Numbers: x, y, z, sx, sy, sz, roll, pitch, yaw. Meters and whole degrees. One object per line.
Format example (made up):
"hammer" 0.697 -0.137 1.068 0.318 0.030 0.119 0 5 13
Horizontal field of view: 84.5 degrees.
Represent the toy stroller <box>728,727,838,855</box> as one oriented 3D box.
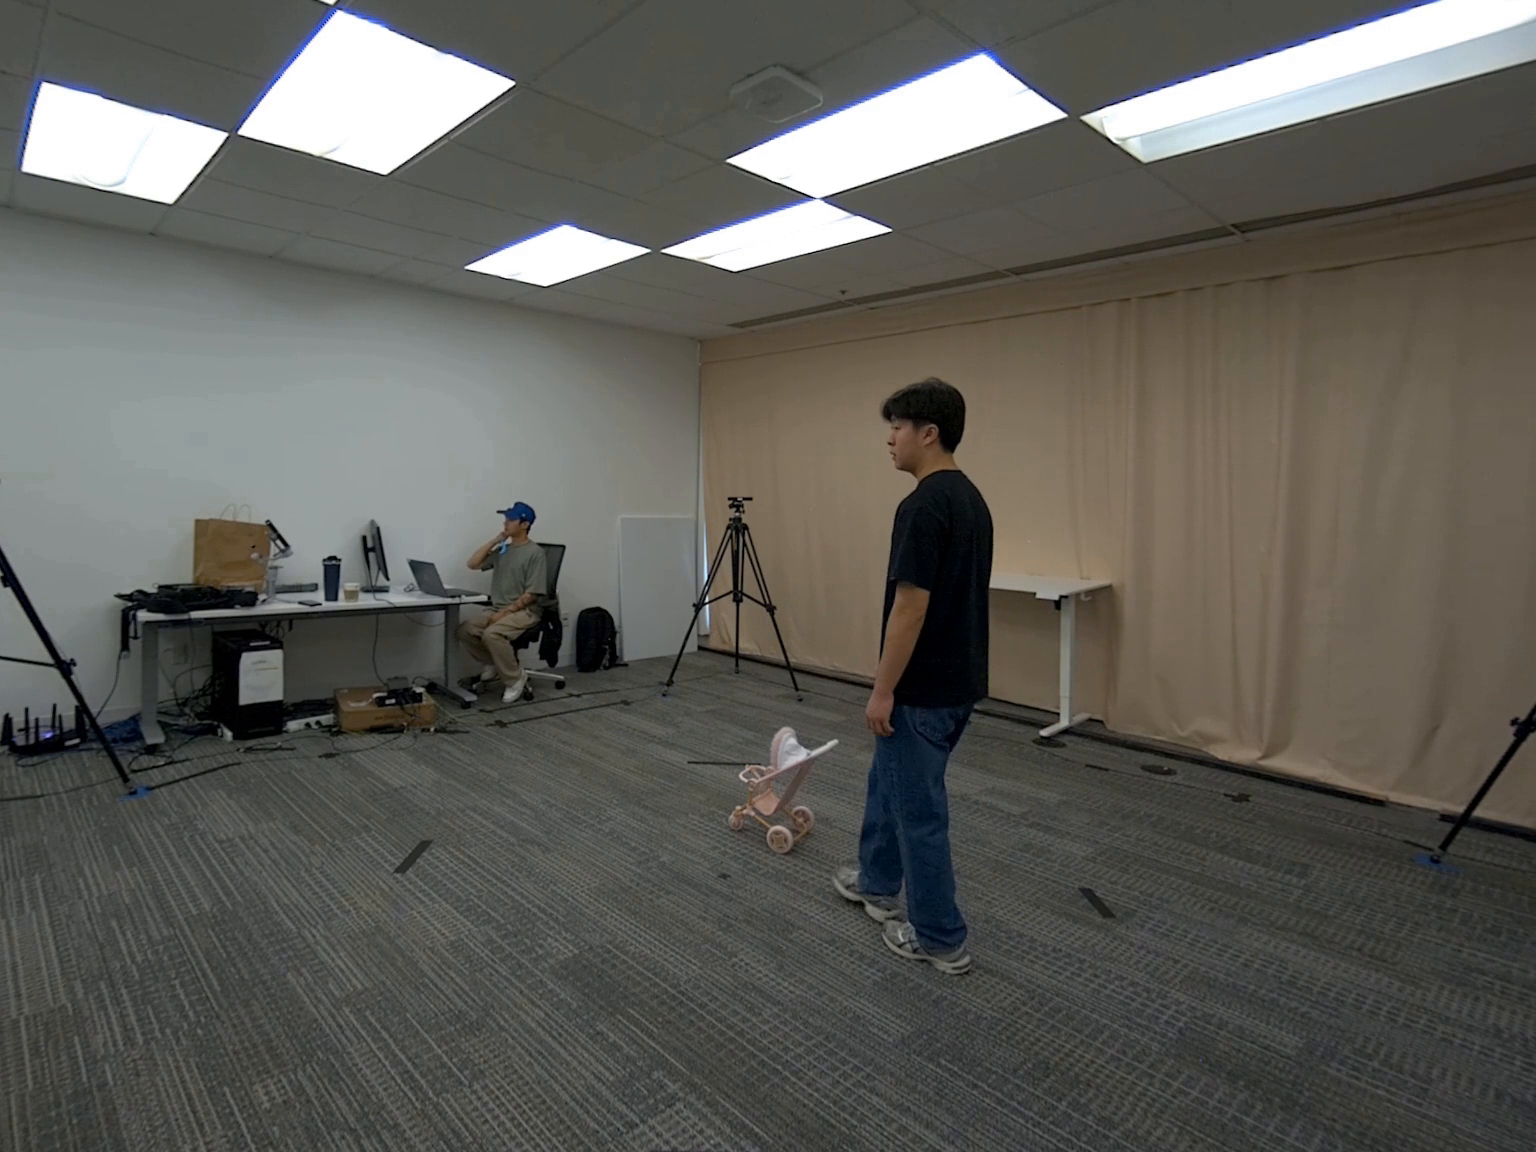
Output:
"toy stroller" 0.036 0.857 3.451 0.350 0.532 0.276 22 12 27
